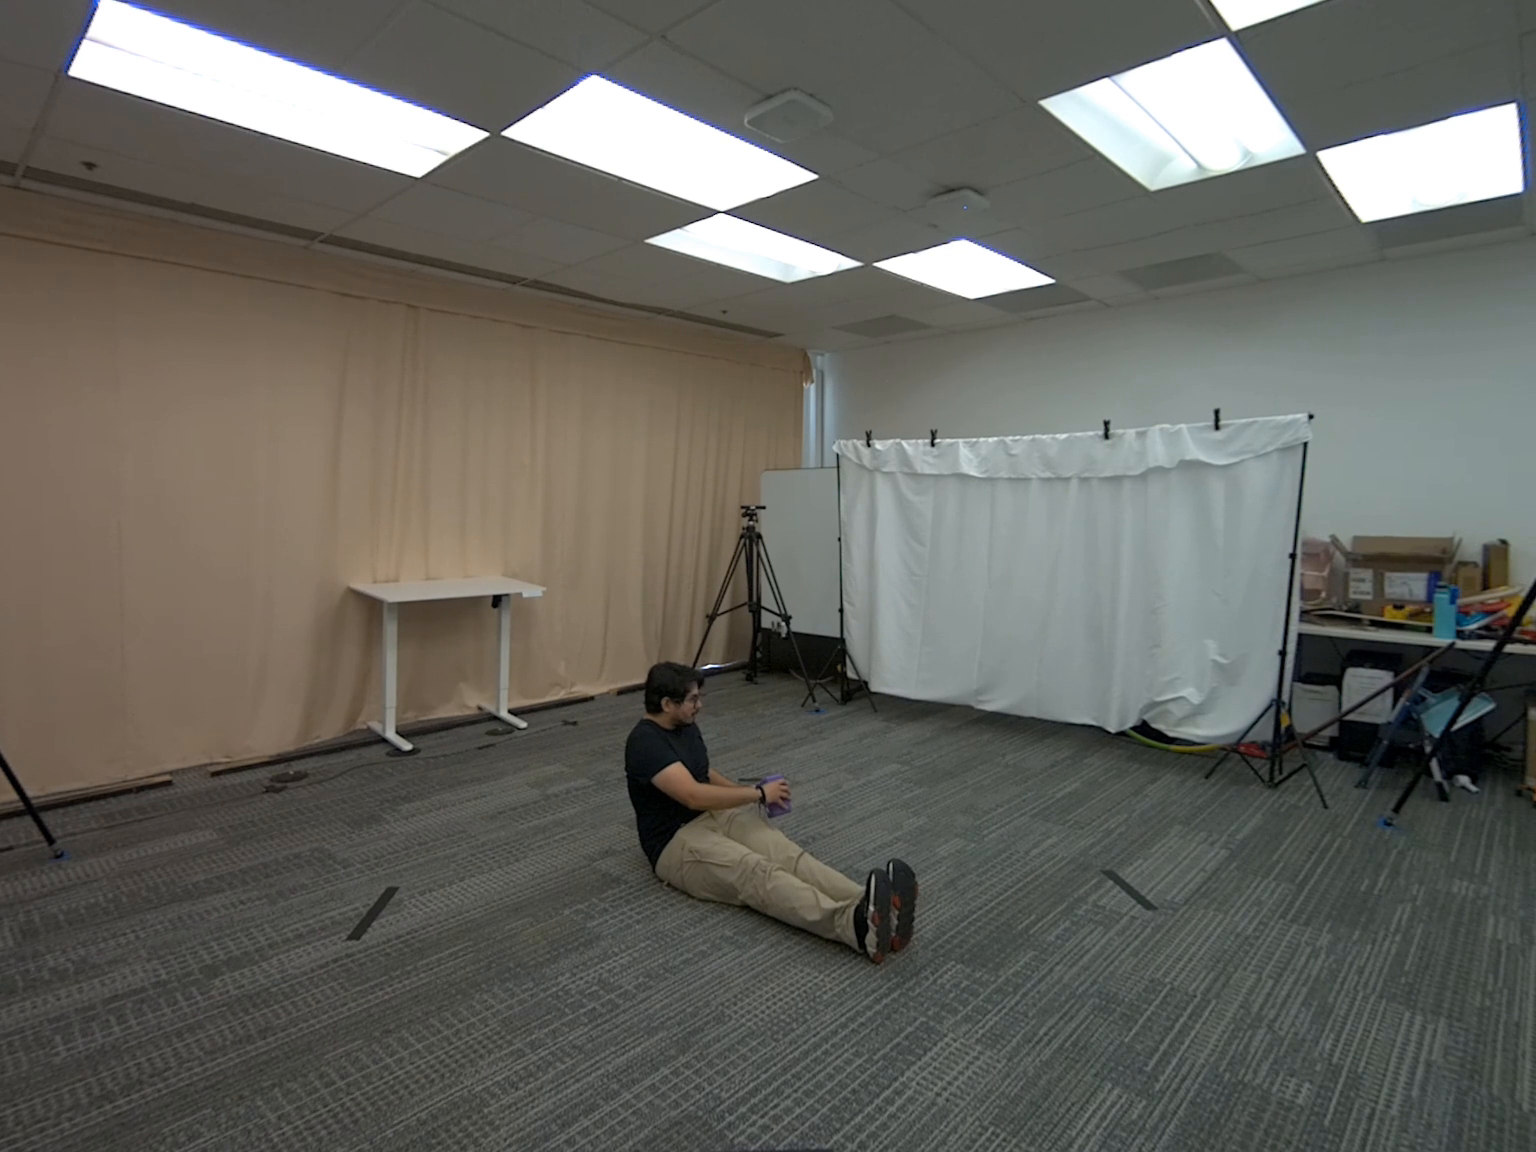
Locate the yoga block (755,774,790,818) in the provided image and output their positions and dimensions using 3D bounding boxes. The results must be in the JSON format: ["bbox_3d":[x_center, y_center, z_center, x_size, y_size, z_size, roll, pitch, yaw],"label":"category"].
[{"bbox_3d":[0.021,0.864,3.291,0.076,0.151,0.227,-10,-13,-5],"label":"yoga block"}]
